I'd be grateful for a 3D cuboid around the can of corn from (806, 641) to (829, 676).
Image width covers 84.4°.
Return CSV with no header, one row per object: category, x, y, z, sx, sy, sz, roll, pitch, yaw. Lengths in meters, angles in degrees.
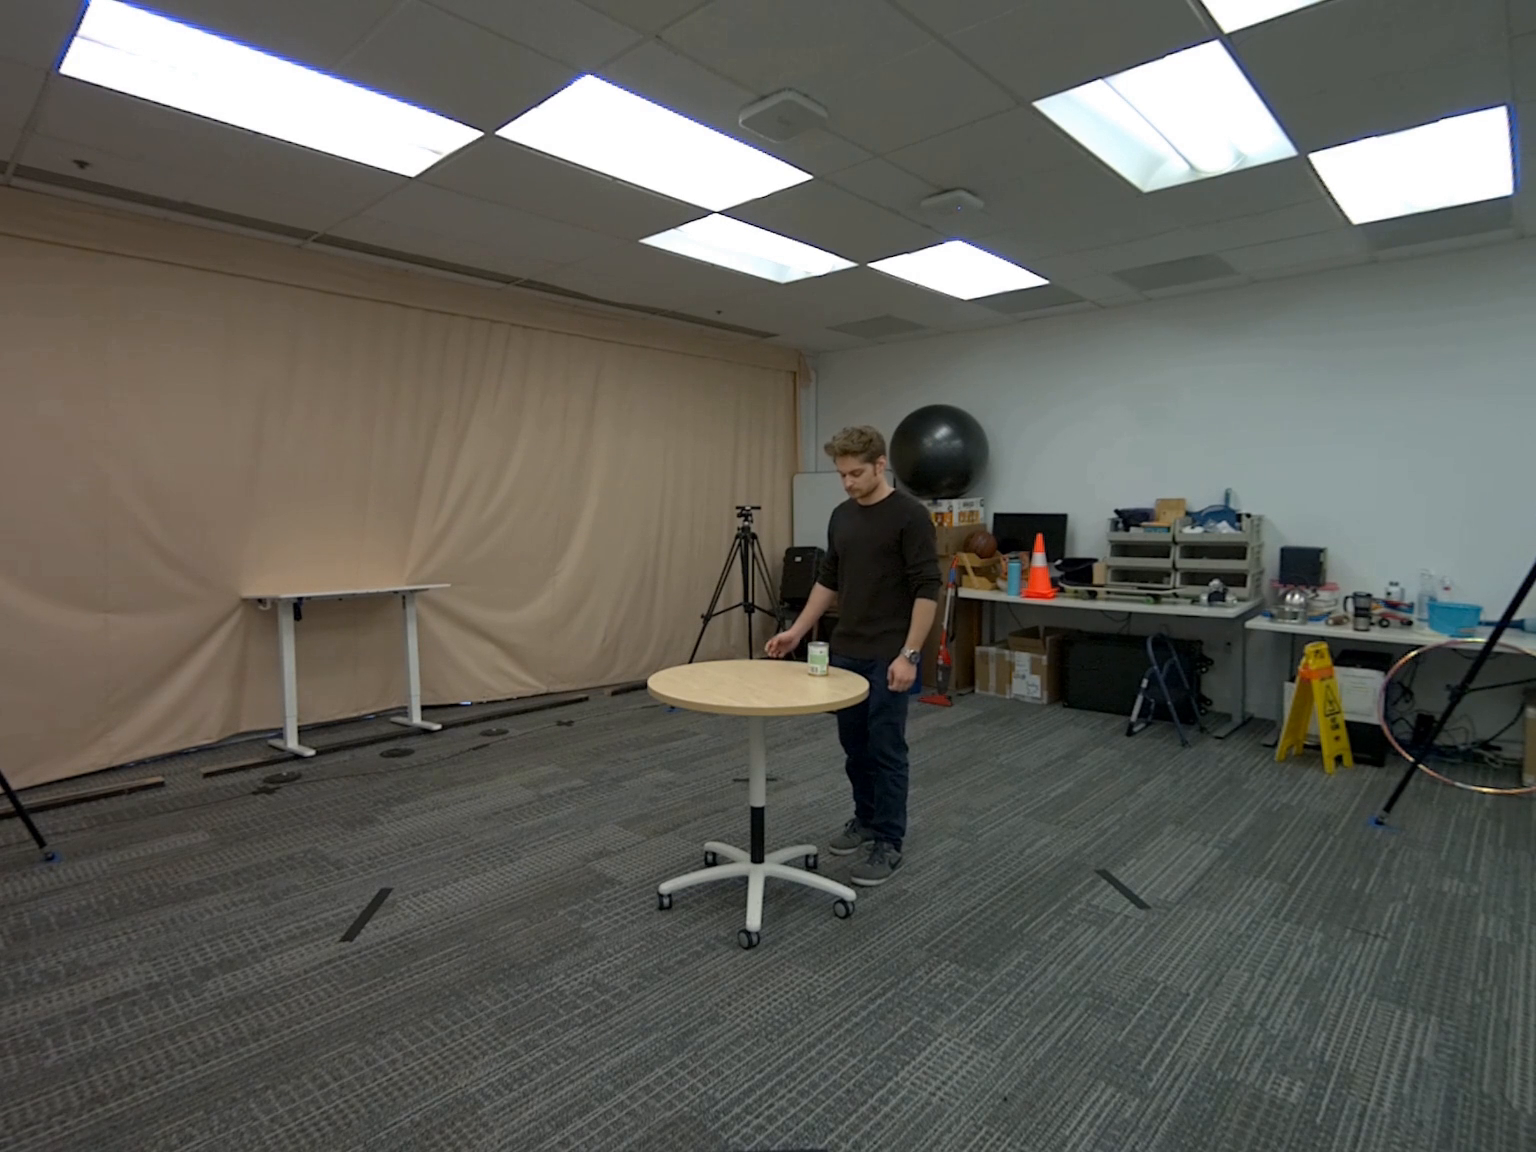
can of corn,0.186,0.300,3.028,0.074,0.111,0.074,2,4,-2
